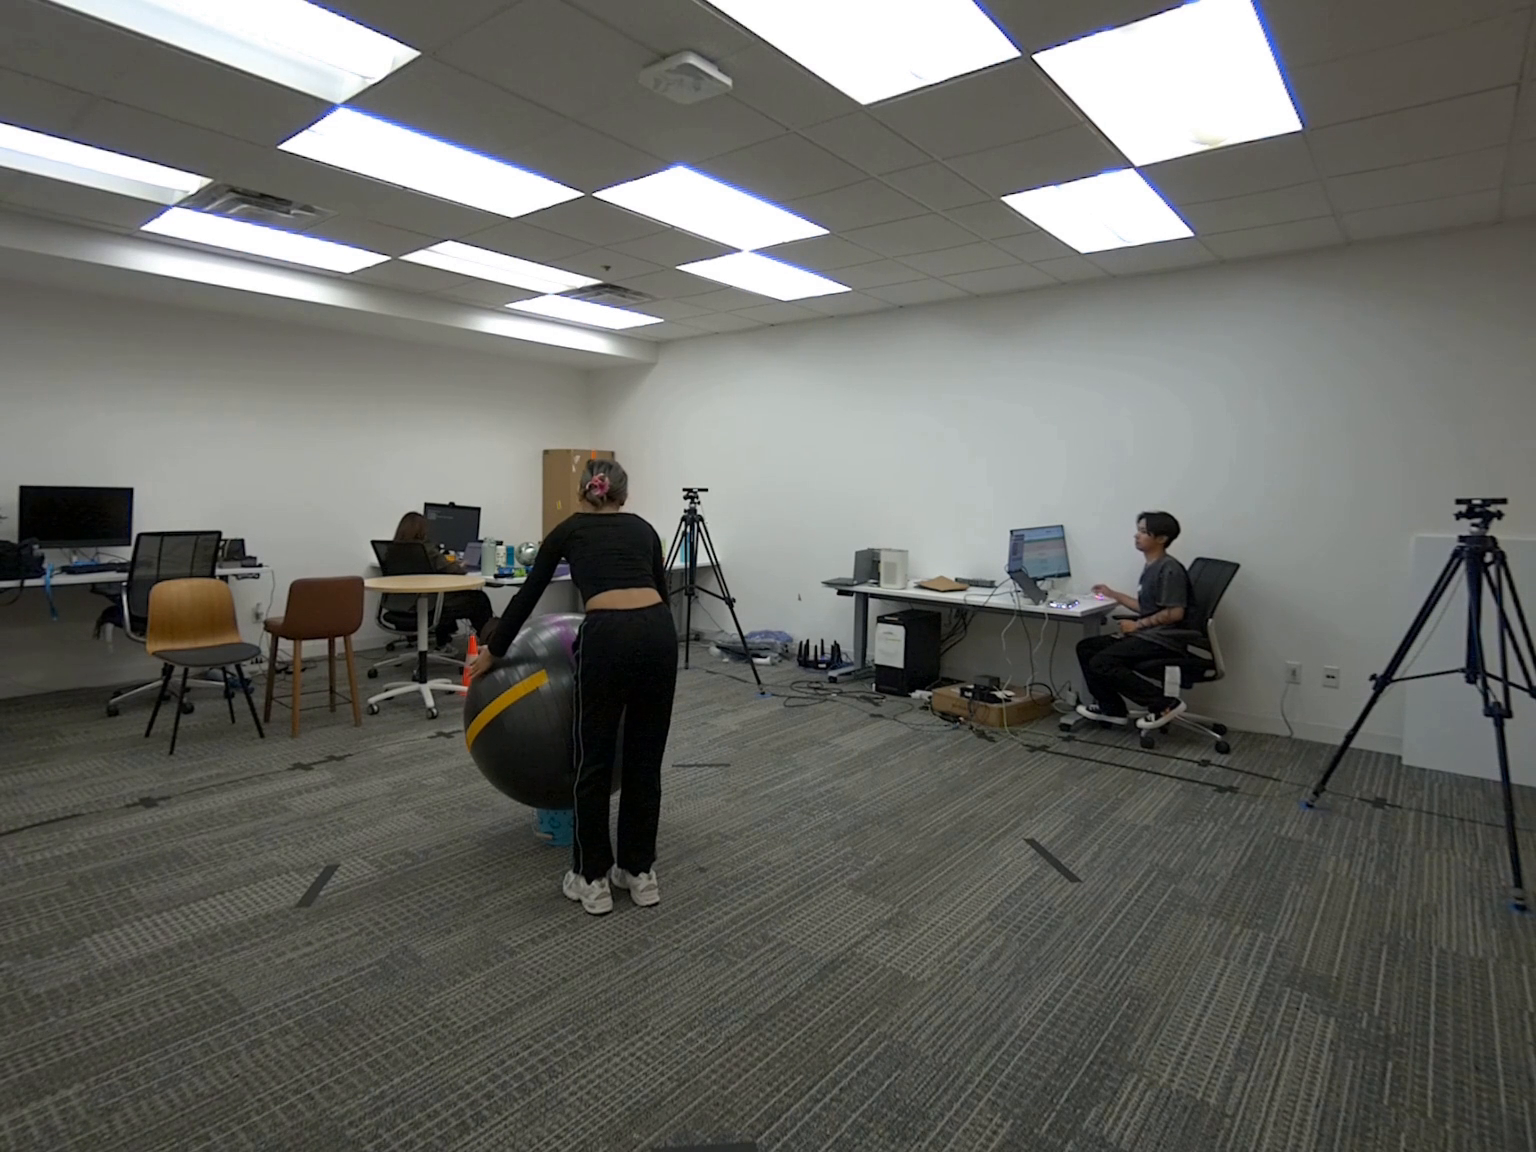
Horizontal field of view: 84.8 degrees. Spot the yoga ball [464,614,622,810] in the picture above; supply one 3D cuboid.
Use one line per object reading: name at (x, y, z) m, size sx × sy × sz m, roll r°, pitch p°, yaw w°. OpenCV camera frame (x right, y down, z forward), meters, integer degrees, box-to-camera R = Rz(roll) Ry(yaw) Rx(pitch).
yoga ball at (-0.815, 0.524, 3.347) m, size 0.757 × 0.755 × 0.762 m, roll 1°, pitch 4°, yaw -2°
